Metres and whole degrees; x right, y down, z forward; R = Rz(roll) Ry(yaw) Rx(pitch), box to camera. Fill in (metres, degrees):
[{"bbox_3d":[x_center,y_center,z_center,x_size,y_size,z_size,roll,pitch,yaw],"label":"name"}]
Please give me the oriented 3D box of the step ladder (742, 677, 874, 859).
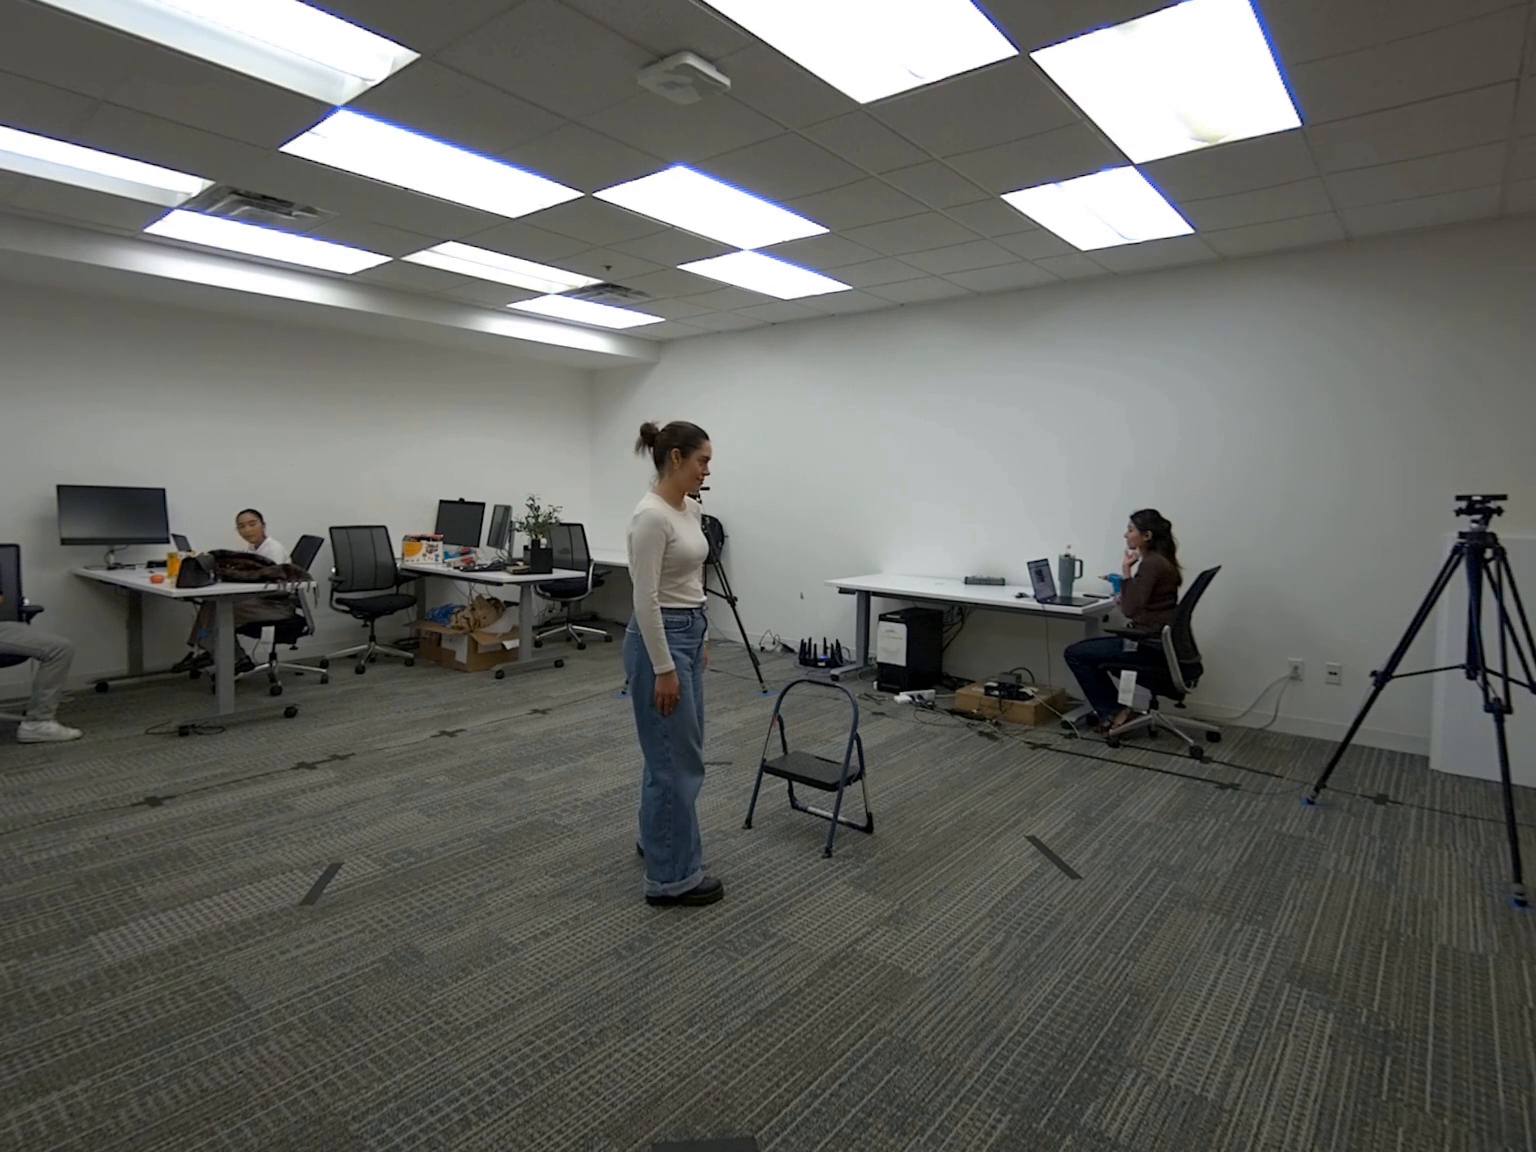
[{"bbox_3d":[0.164,0.733,3.461,0.445,0.604,0.339,4,5,39],"label":"step ladder"}]
